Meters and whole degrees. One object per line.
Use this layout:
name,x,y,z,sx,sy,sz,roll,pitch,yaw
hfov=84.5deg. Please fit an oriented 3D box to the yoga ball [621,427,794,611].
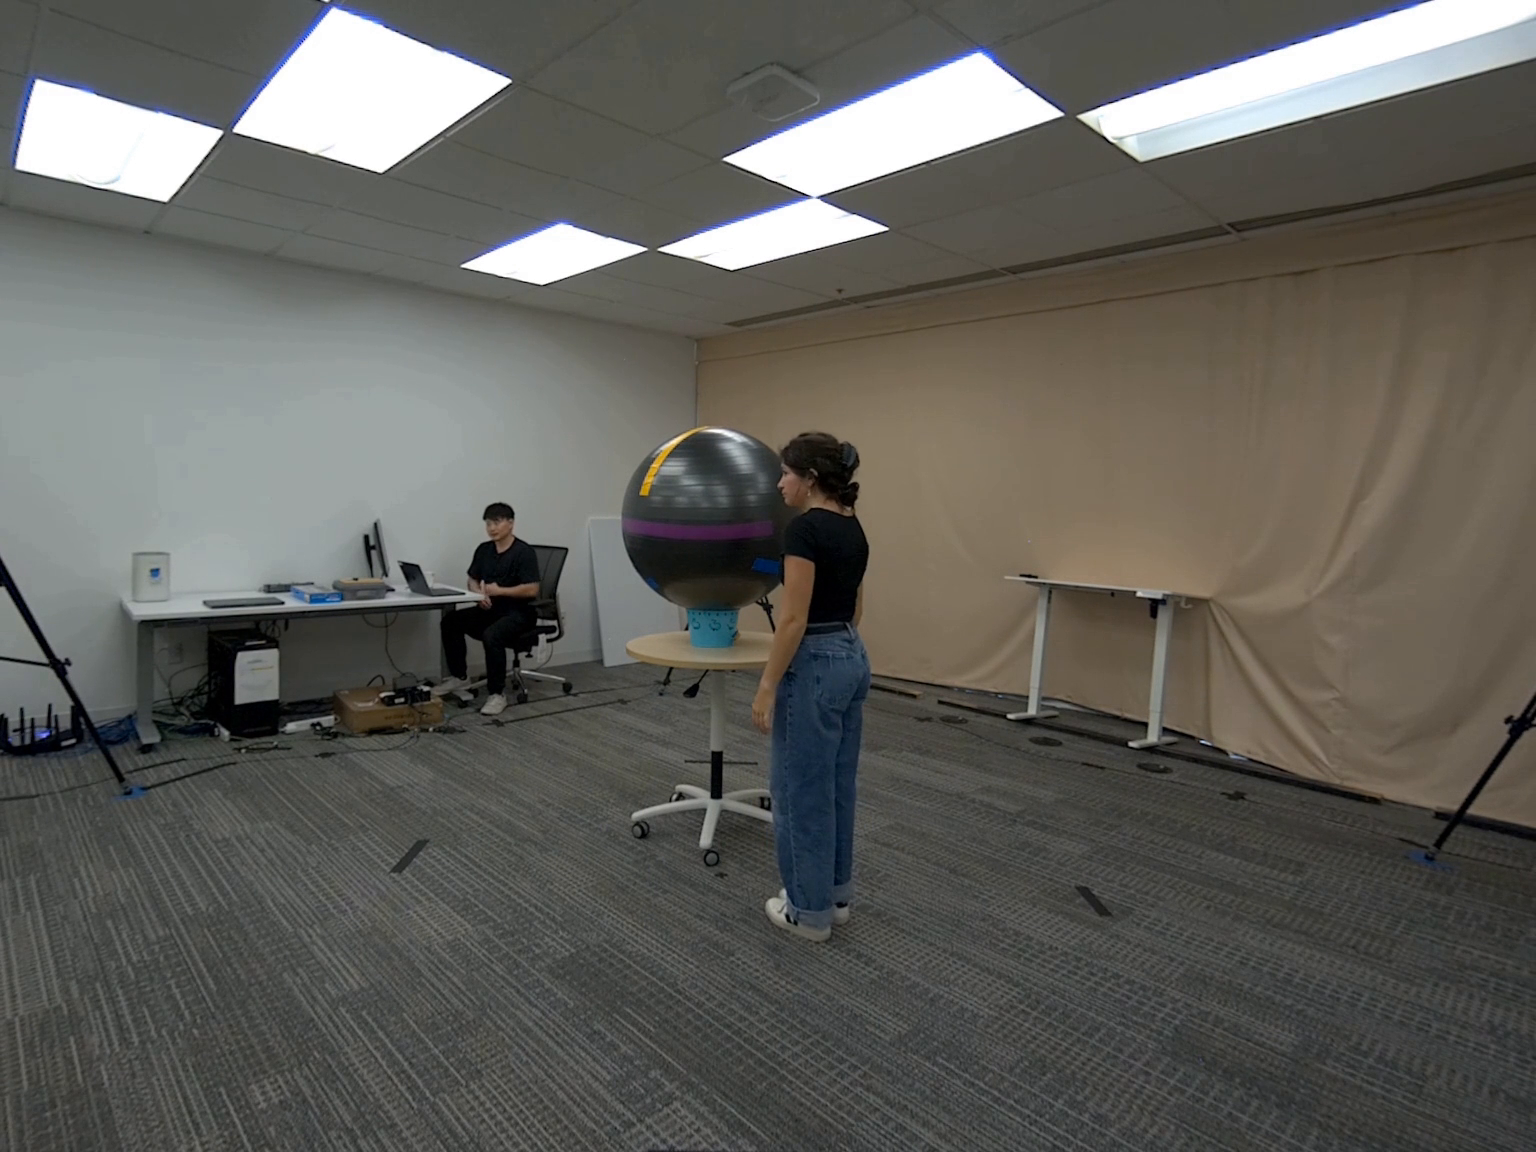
yoga ball,-0.234,-0.232,3.487,0.757,0.756,0.761,1,4,-1
